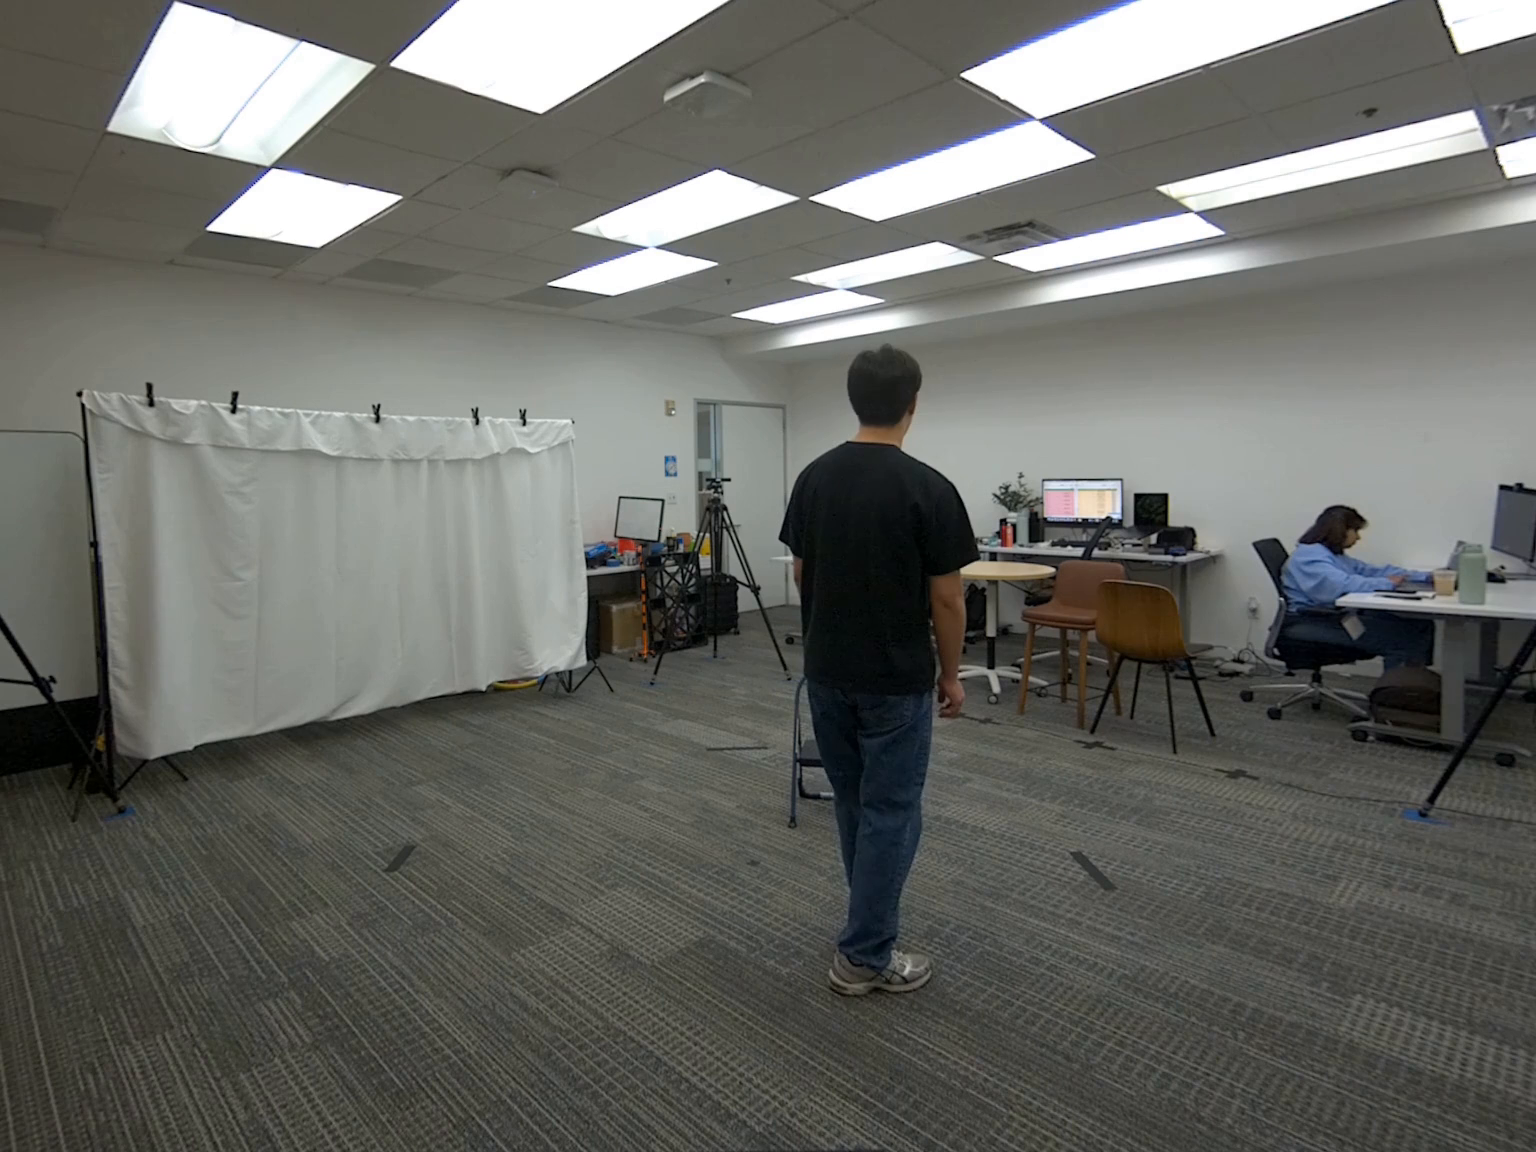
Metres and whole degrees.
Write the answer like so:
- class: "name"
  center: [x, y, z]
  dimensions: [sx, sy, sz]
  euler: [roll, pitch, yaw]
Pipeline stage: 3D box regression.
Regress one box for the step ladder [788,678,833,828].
- class: "step ladder"
  center: [0.317, 0.687, 3.525]
  dimensions: [0.435, 0.604, 0.347]
  euler: [0, 4, 10]
